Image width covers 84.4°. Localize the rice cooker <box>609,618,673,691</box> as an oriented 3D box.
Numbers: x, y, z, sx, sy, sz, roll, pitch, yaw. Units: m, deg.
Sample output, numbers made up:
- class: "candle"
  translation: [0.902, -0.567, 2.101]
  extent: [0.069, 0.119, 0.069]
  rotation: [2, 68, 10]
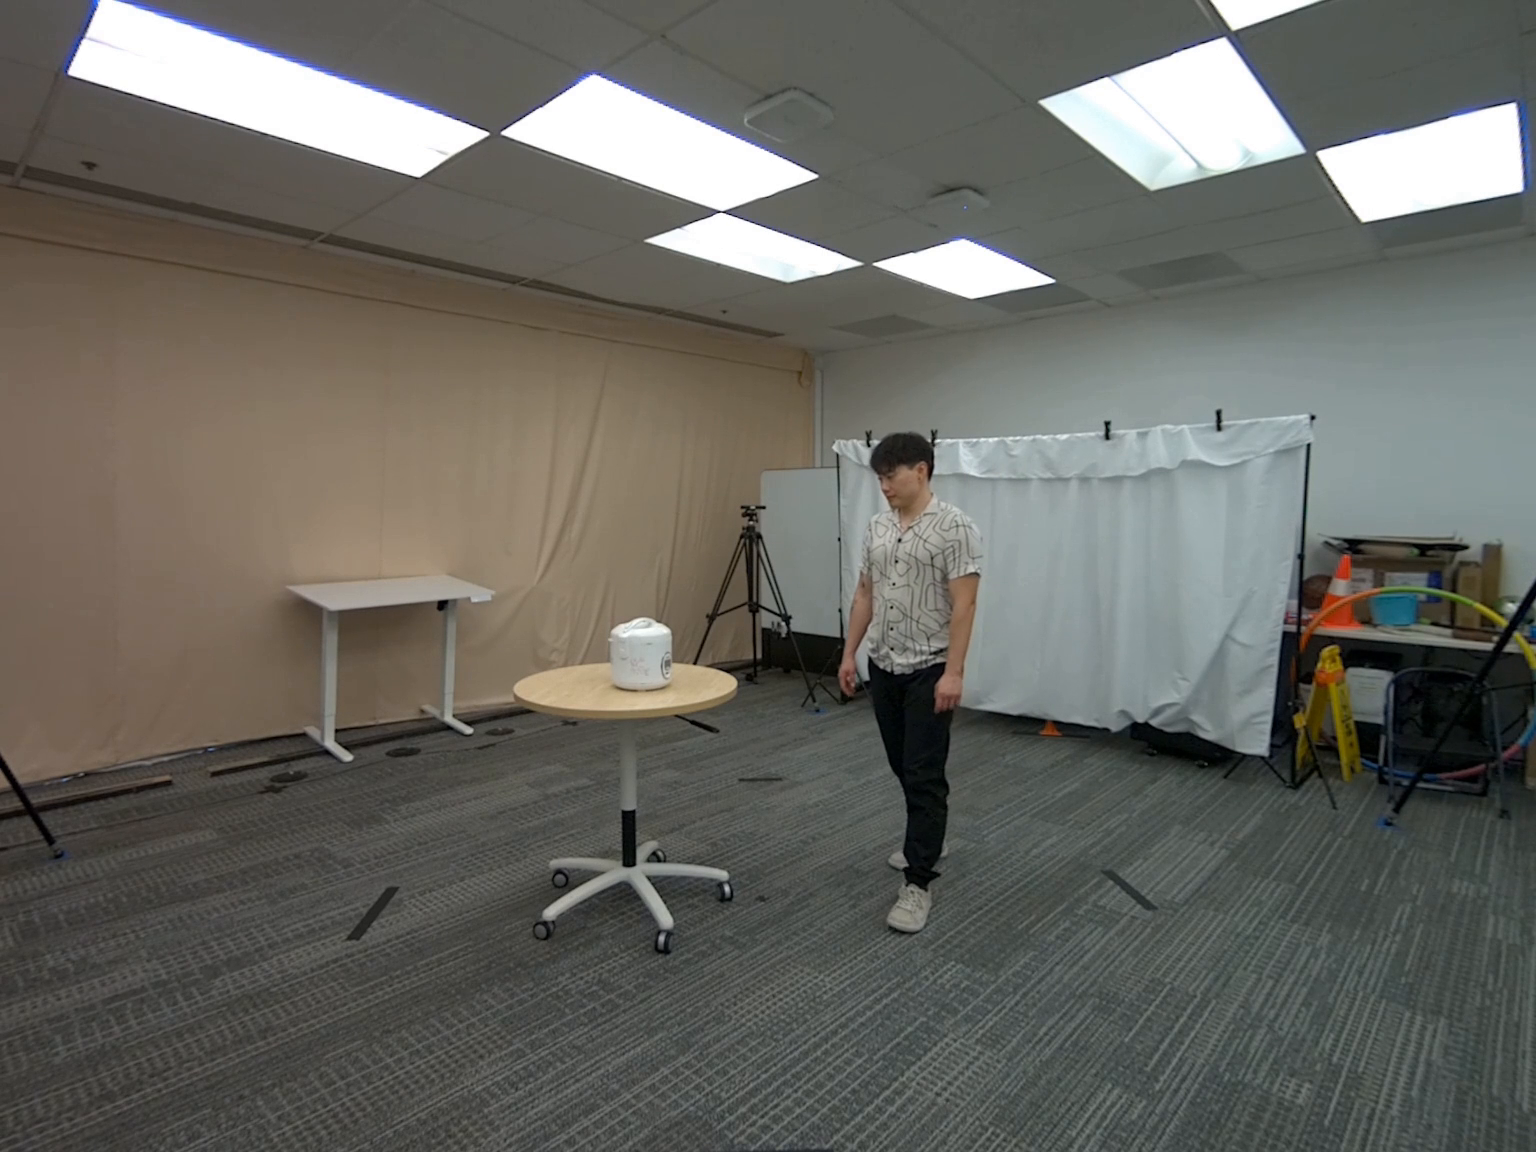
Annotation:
- class: "rice cooker"
  translation: [-0.426, 0.261, 2.862]
  extent: [0.223, 0.232, 0.215]
  rotation: [1, 4, 29]
